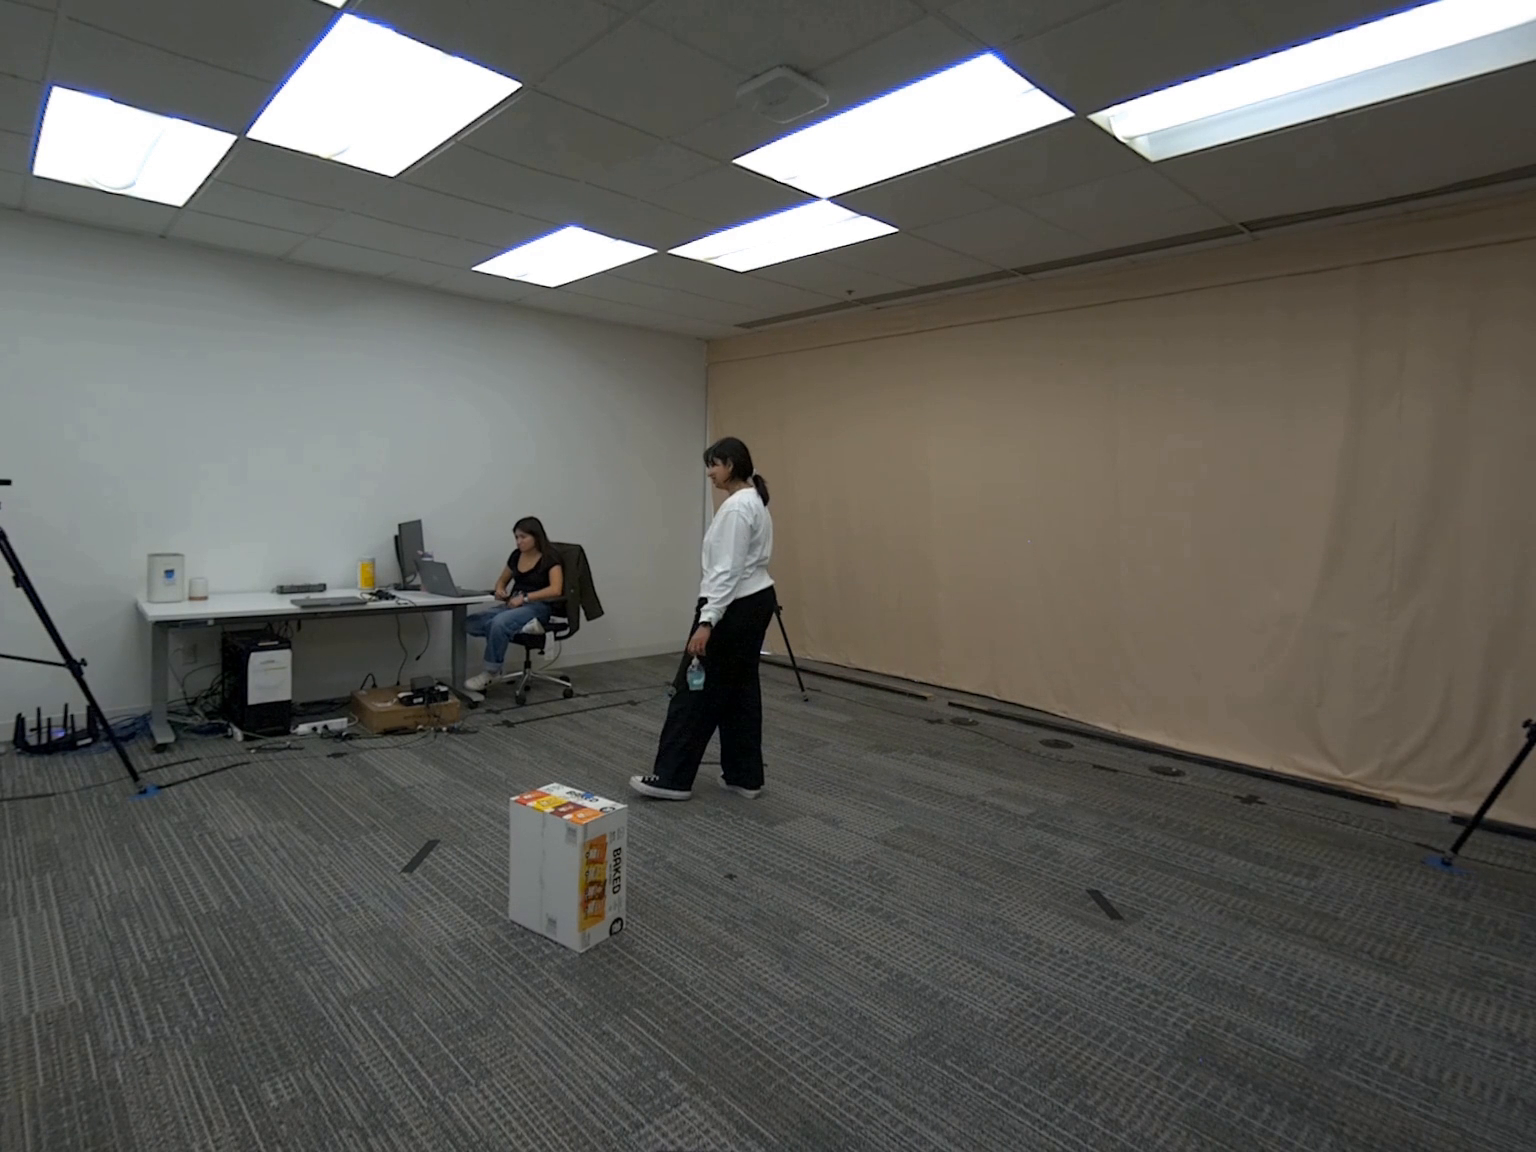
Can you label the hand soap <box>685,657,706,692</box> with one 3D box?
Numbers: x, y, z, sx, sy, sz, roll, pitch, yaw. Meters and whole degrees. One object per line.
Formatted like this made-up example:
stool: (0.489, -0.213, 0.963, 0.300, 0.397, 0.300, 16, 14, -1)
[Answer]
hand soap: (-0.328, 0.418, 3.747, 0.083, 0.169, 0.044, -1, -5, -30)
